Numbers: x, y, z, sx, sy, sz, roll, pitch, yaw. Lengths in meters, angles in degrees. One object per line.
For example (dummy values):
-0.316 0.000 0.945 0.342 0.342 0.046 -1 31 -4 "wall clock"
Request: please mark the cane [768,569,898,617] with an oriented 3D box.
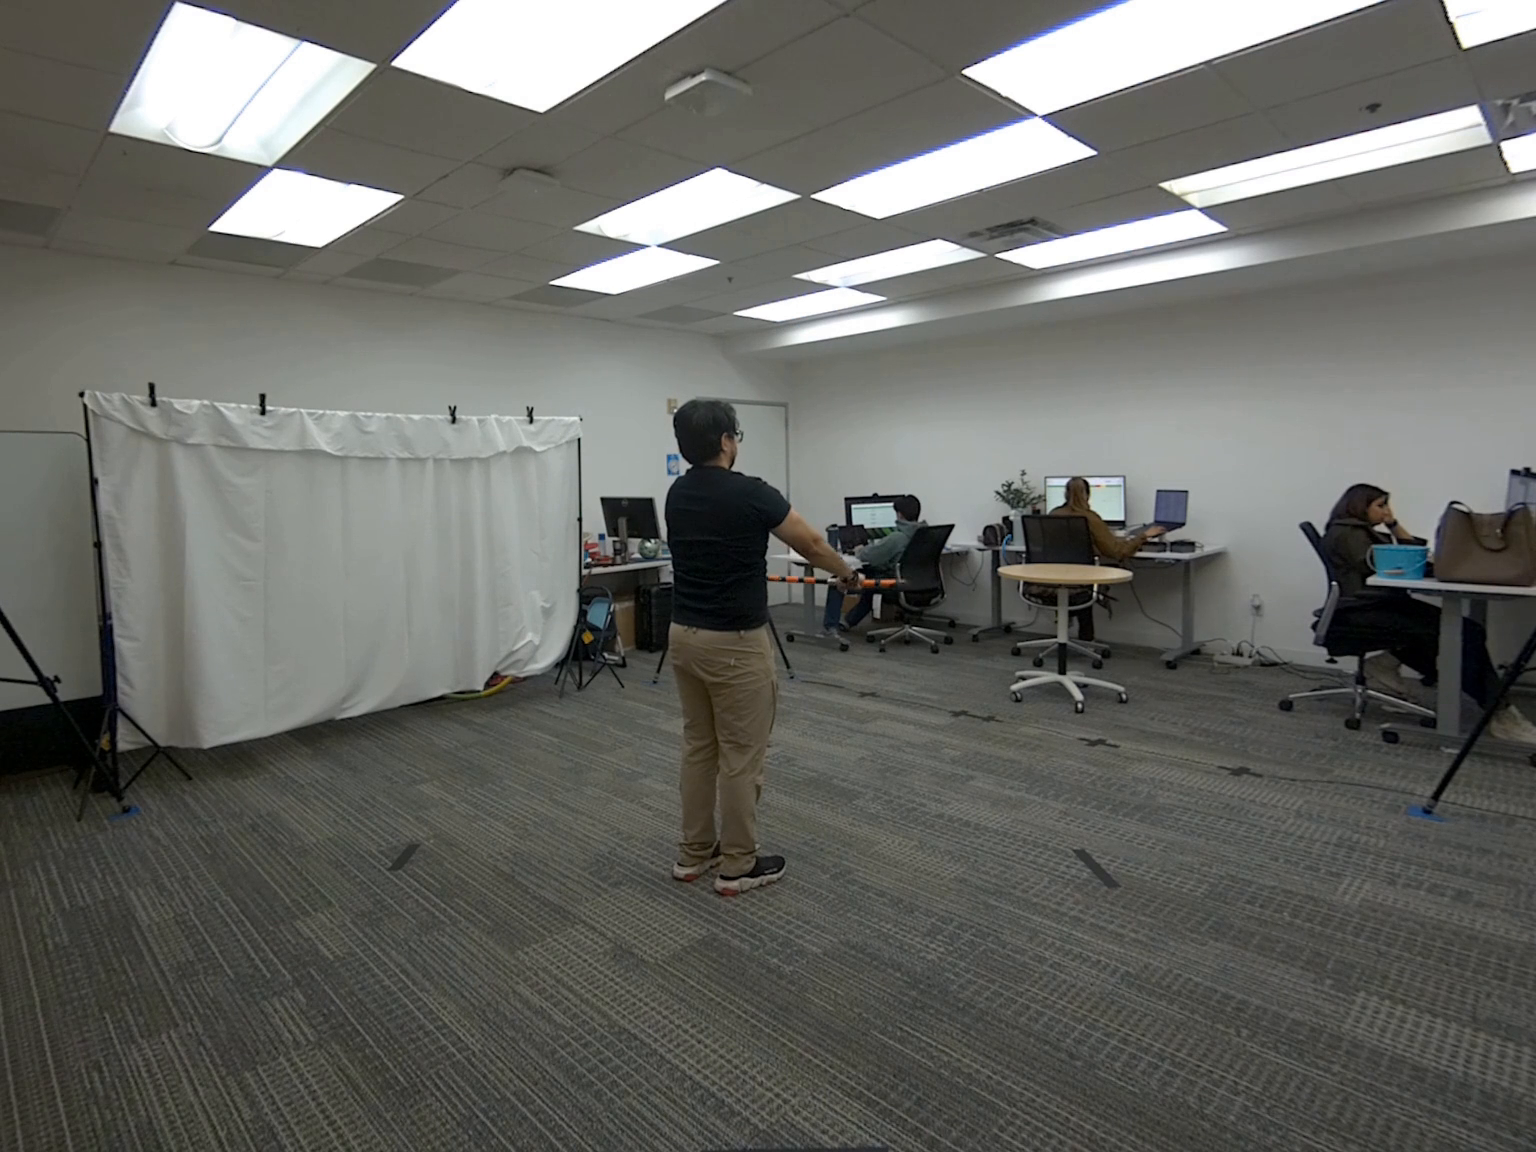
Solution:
0.140 0.022 3.269 0.934 0.151 0.201 1 3 41 "cane"
